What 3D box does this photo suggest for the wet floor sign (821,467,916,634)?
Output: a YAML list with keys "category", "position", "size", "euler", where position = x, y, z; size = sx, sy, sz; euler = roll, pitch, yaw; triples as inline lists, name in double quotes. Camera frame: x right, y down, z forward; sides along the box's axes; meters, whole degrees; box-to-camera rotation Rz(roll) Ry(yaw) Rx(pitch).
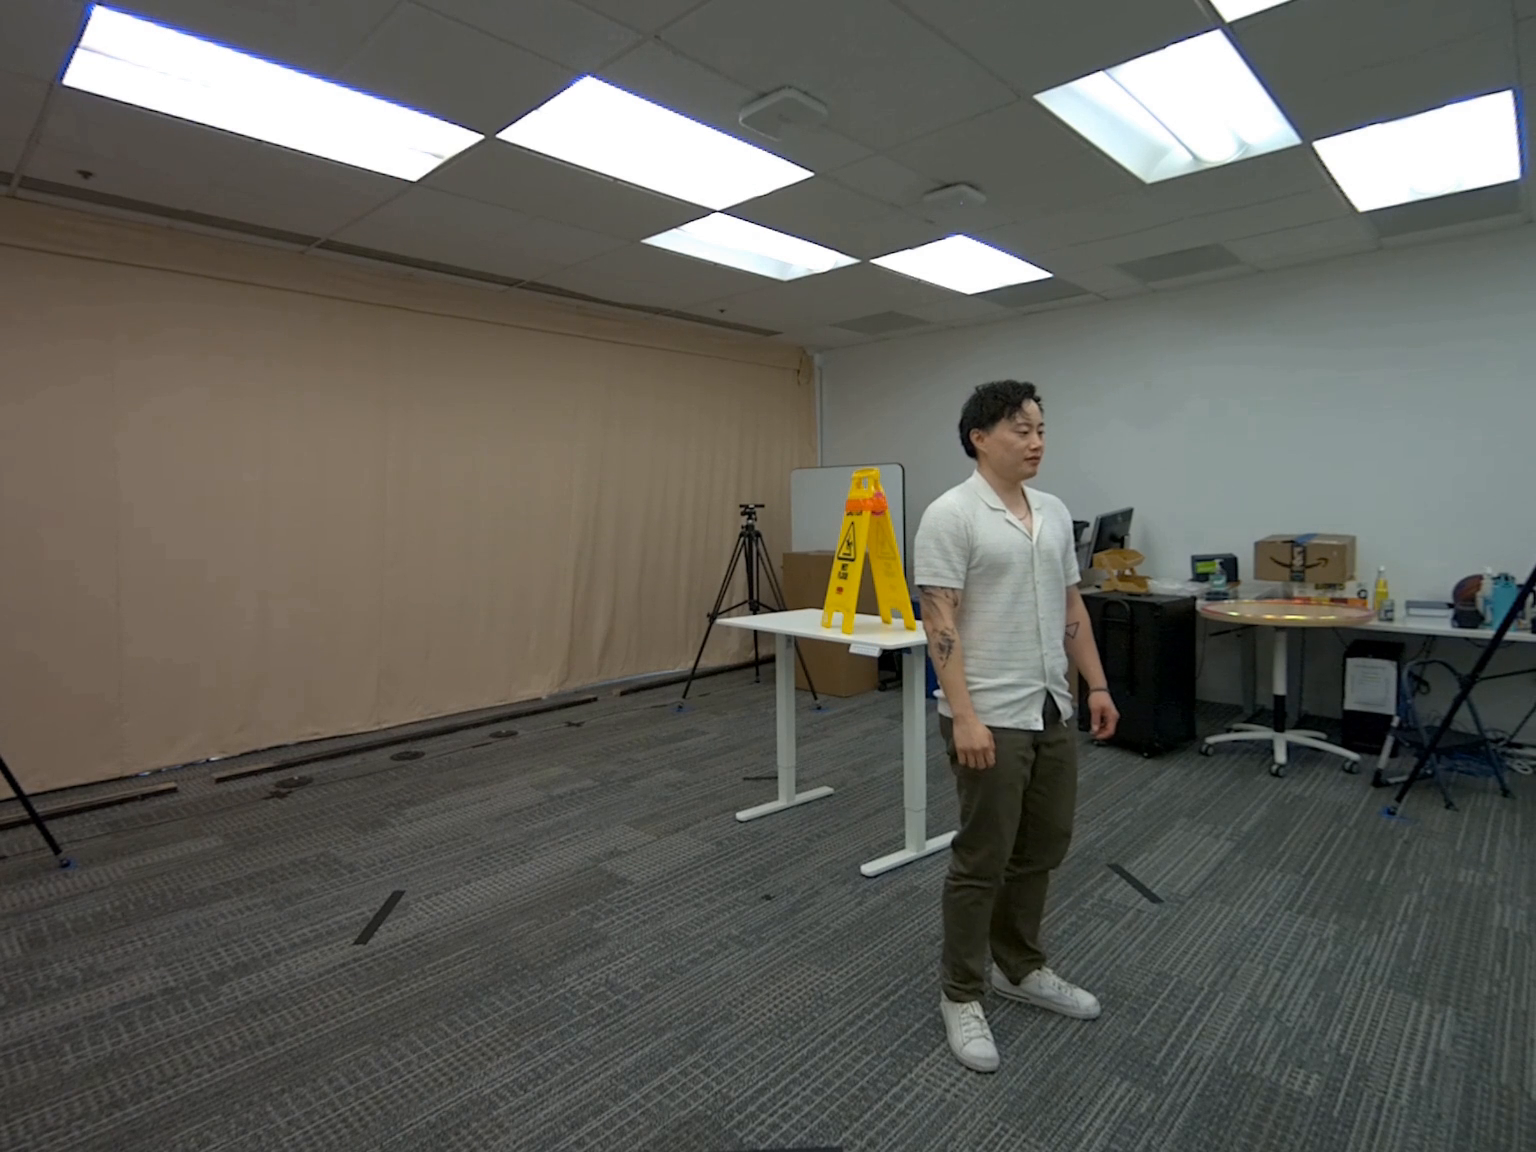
- category: "wet floor sign"
  position: [0.400, -0.108, 3.409]
  size: [0.285, 0.645, 0.287]
  euler: [-2, 2, -17]
